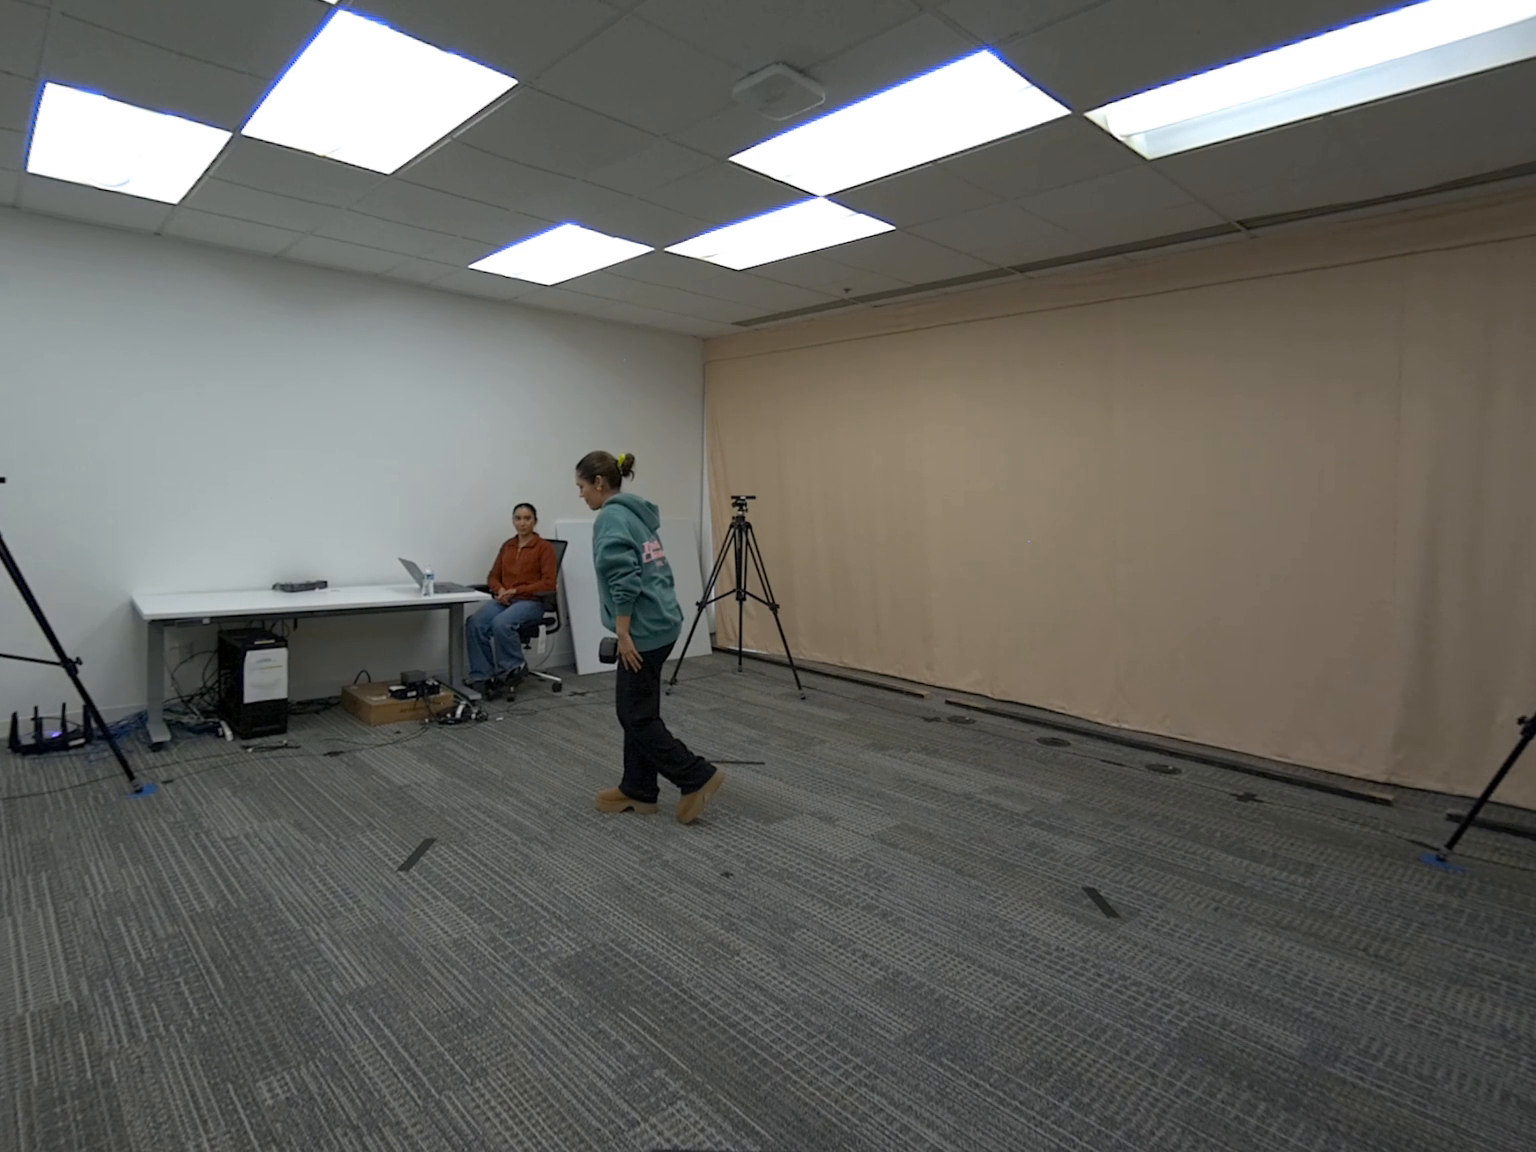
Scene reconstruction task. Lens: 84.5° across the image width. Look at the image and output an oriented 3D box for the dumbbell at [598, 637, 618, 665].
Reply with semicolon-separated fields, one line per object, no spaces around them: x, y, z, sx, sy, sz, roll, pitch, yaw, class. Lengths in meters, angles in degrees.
-0.630;0.353;3.851;0.294;0.124;0.107;5;-16;0;dumbbell
